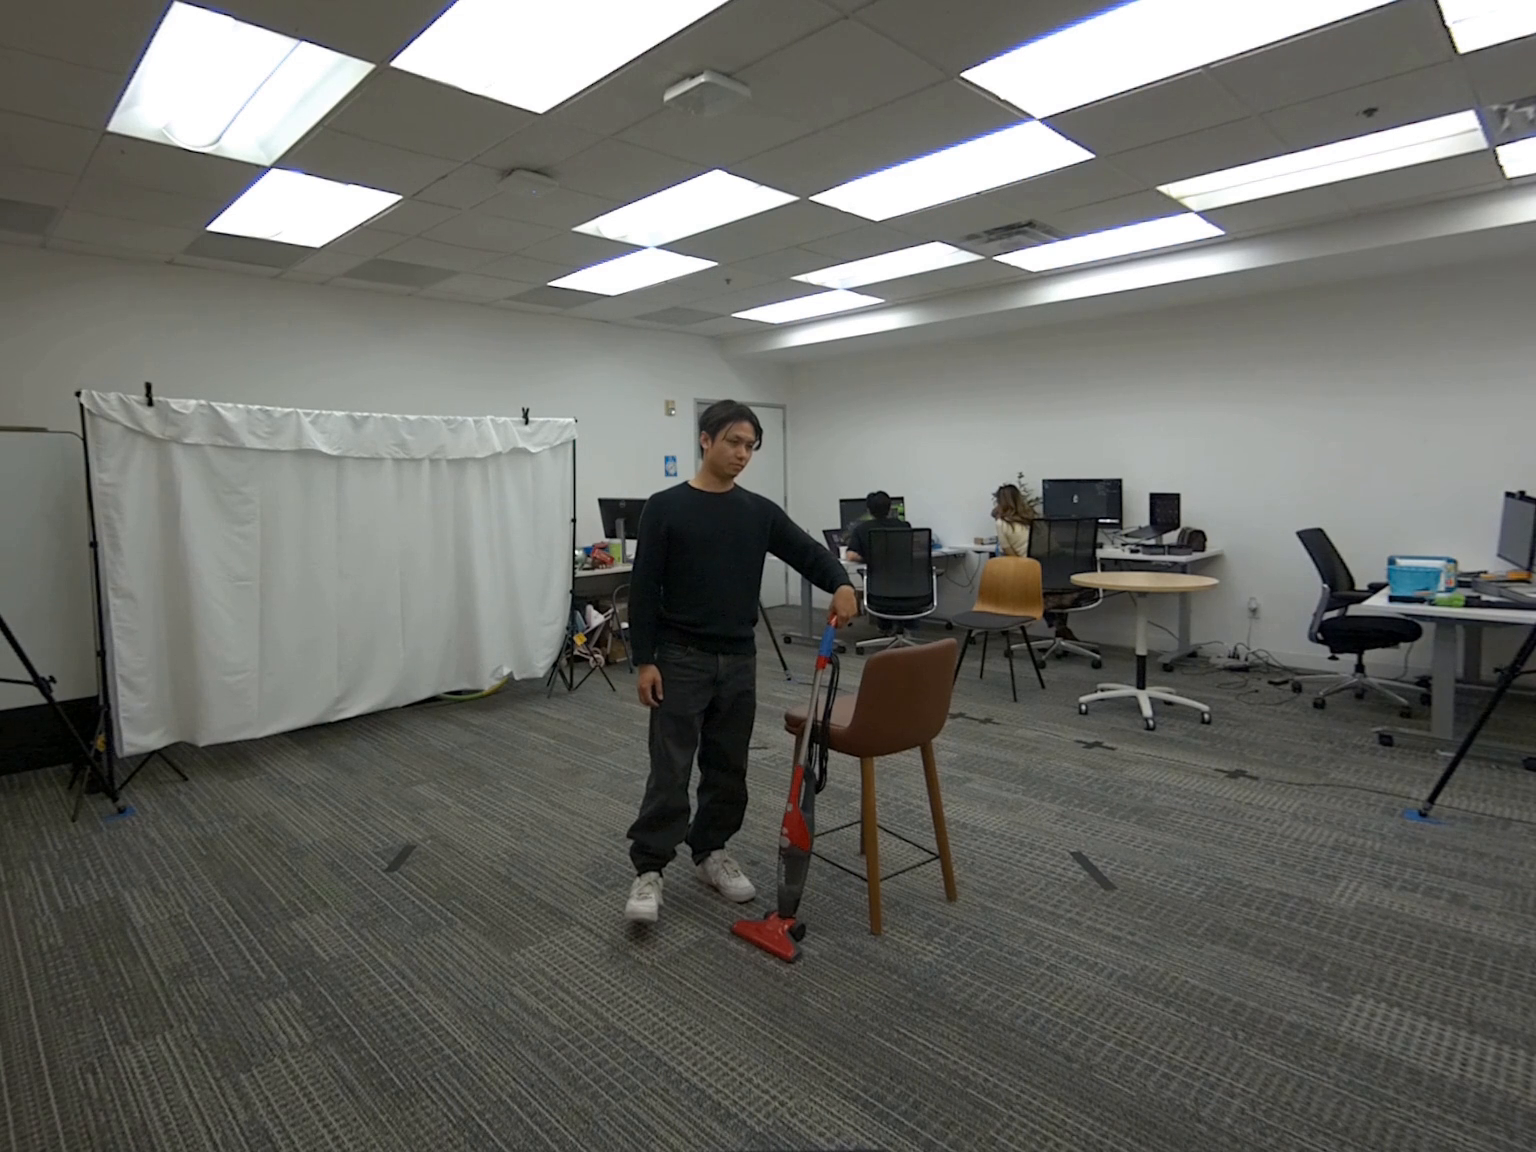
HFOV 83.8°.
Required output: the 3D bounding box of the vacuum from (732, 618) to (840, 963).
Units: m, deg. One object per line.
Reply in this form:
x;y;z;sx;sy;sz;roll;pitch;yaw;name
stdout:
0.132;0.589;2.665;0.260;1.055;0.139;4;-12;45;vacuum
